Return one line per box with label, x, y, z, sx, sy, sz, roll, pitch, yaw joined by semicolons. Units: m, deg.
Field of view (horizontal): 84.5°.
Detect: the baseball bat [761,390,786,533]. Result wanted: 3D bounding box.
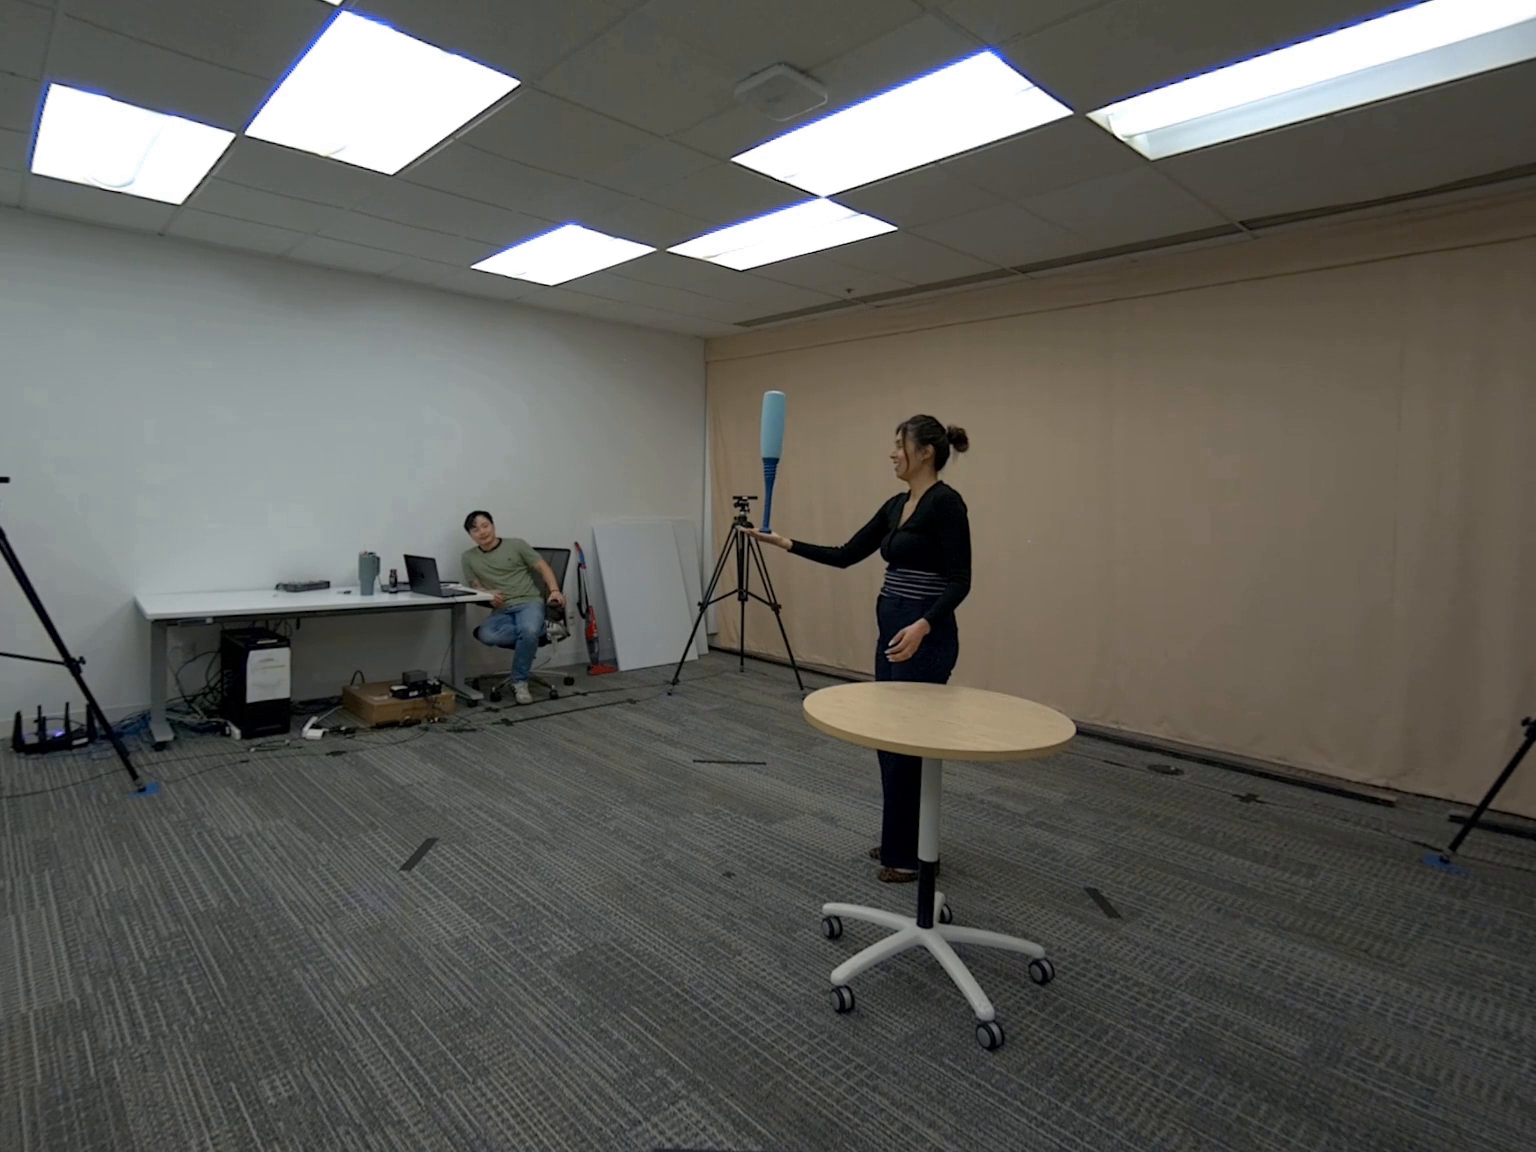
baseball bat;0.014;-0.426;3.190;0.089;0.543;0.089;3;0;-1
